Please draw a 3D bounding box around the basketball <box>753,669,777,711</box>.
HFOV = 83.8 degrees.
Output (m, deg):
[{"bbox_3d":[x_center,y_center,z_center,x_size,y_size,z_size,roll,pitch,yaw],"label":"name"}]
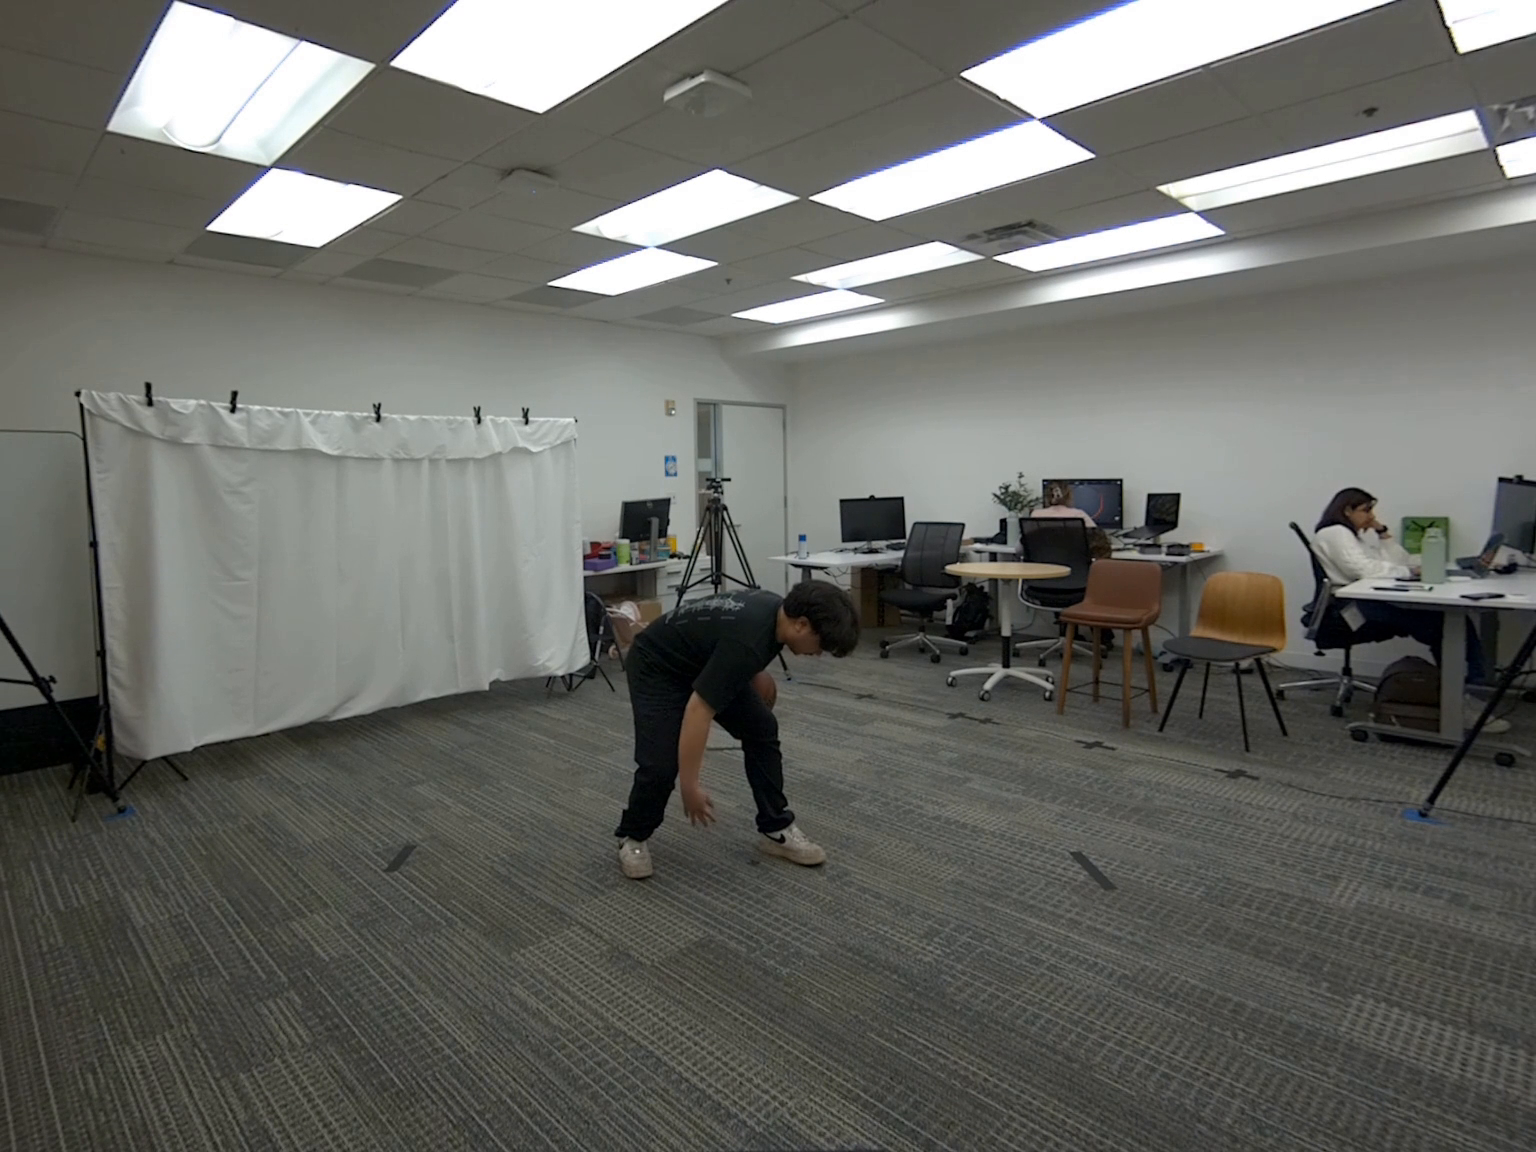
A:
[{"bbox_3d":[-0.082,0.472,3.411,0.236,0.235,0.237,-1,5,-2],"label":"basketball"}]
